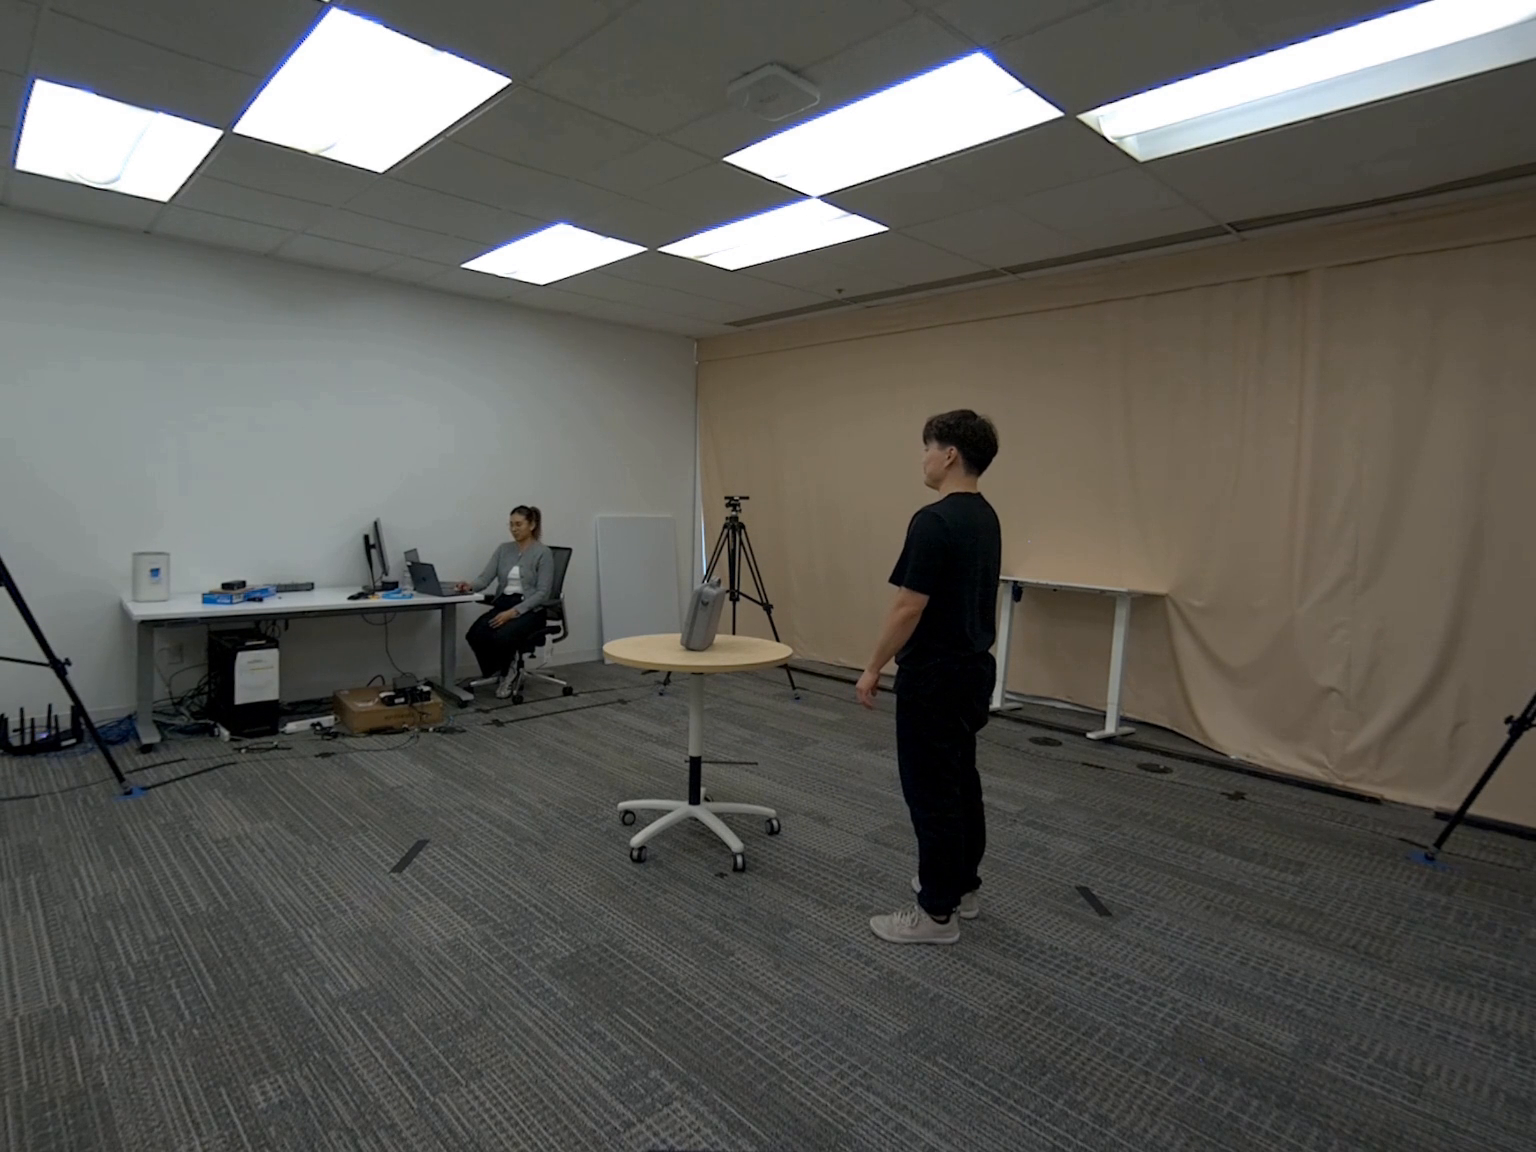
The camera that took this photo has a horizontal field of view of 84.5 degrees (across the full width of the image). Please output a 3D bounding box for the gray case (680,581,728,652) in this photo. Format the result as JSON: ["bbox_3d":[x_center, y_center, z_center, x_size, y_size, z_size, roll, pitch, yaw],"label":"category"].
[{"bbox_3d":[-0.268,0.158,3.424,0.105,0.259,0.256,13,7,5],"label":"gray case"}]
